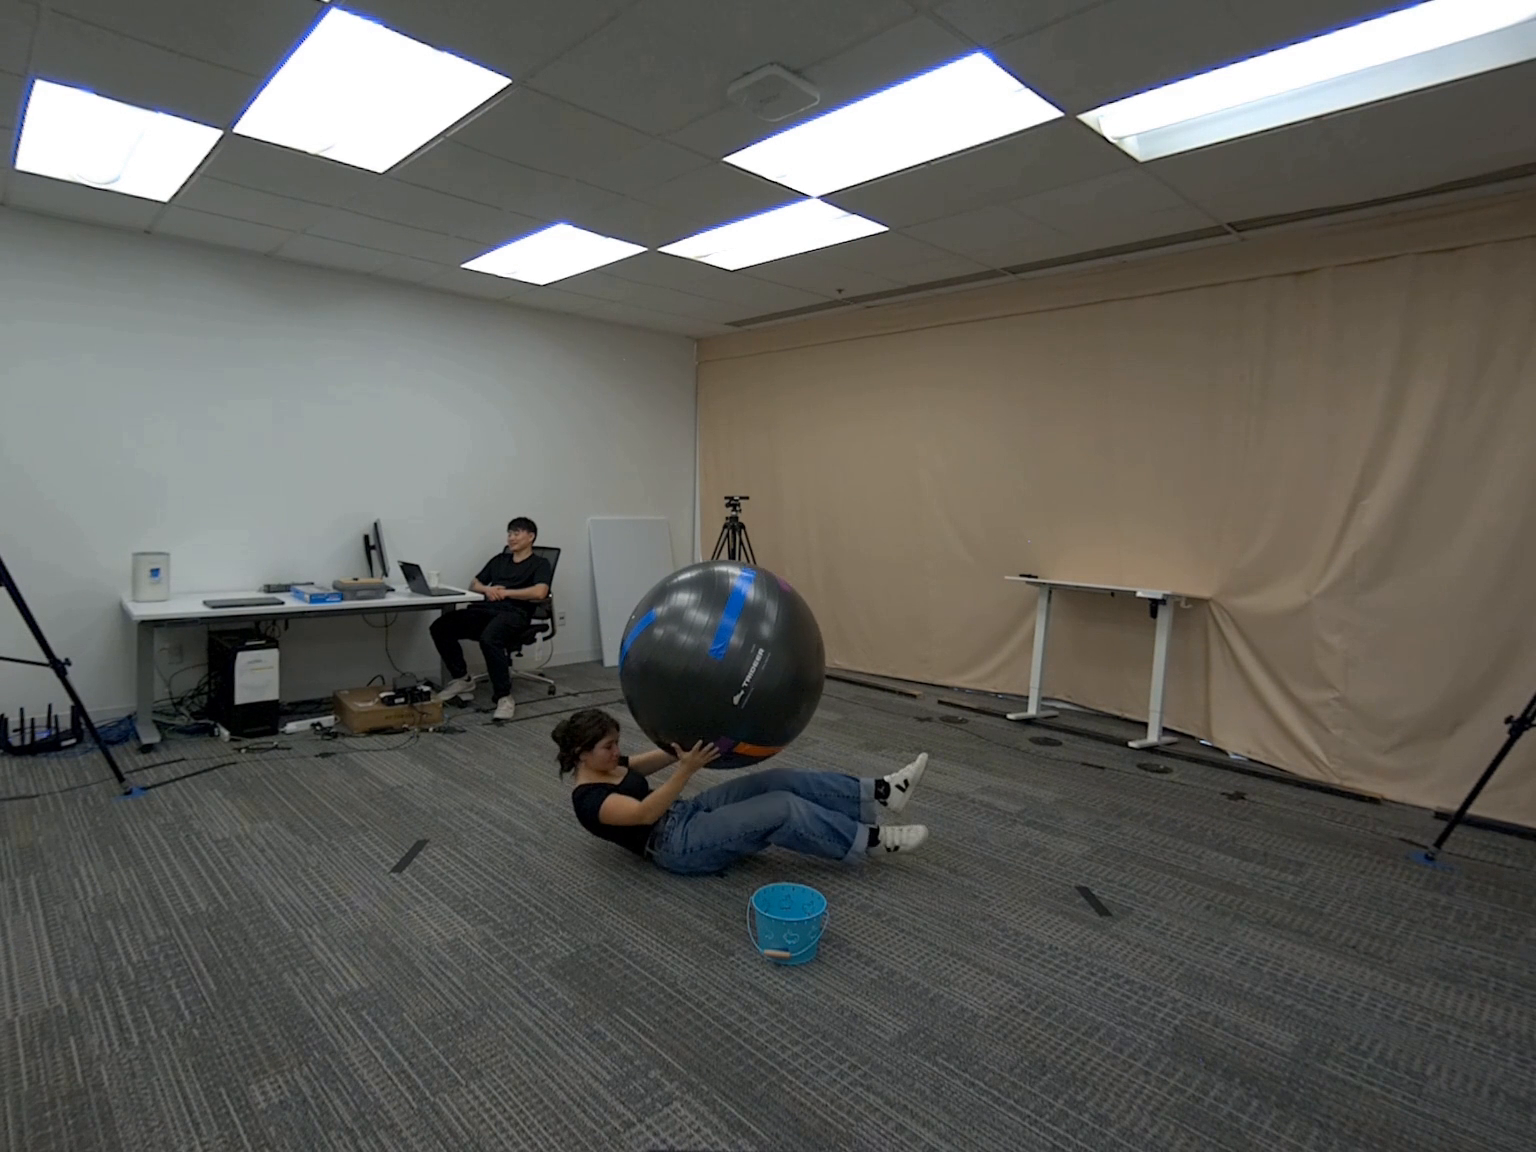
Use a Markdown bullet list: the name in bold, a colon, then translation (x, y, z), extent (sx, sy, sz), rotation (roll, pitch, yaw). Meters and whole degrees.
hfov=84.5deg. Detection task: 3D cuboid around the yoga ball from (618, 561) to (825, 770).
- **yoga ball**: translation (-0.172, 0.324, 3.082), extent (0.757, 0.756, 0.761), rotation (1, 4, -1)
